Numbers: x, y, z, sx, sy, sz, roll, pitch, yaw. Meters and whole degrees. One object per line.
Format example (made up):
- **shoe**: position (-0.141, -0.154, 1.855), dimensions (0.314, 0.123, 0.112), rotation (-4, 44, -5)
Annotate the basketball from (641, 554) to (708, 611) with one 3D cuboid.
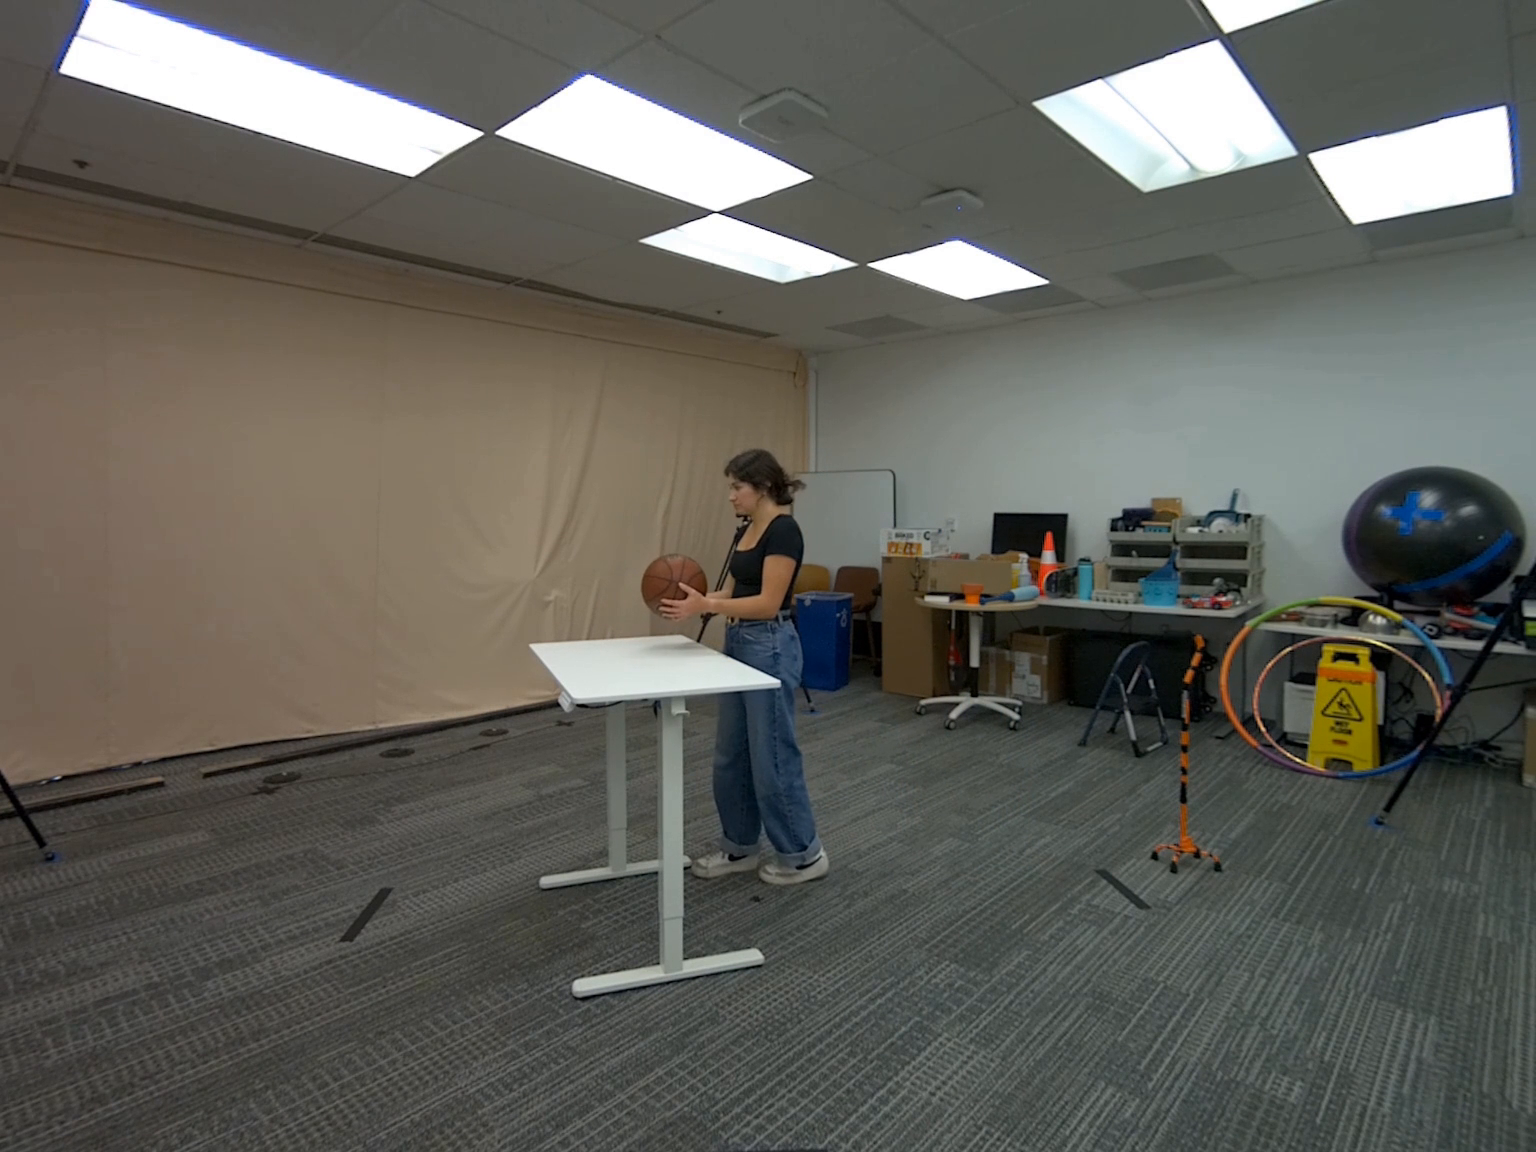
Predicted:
- **basketball**: position (-0.333, 0.040, 3.035), dimensions (0.236, 0.235, 0.237), rotation (0, 4, -2)
